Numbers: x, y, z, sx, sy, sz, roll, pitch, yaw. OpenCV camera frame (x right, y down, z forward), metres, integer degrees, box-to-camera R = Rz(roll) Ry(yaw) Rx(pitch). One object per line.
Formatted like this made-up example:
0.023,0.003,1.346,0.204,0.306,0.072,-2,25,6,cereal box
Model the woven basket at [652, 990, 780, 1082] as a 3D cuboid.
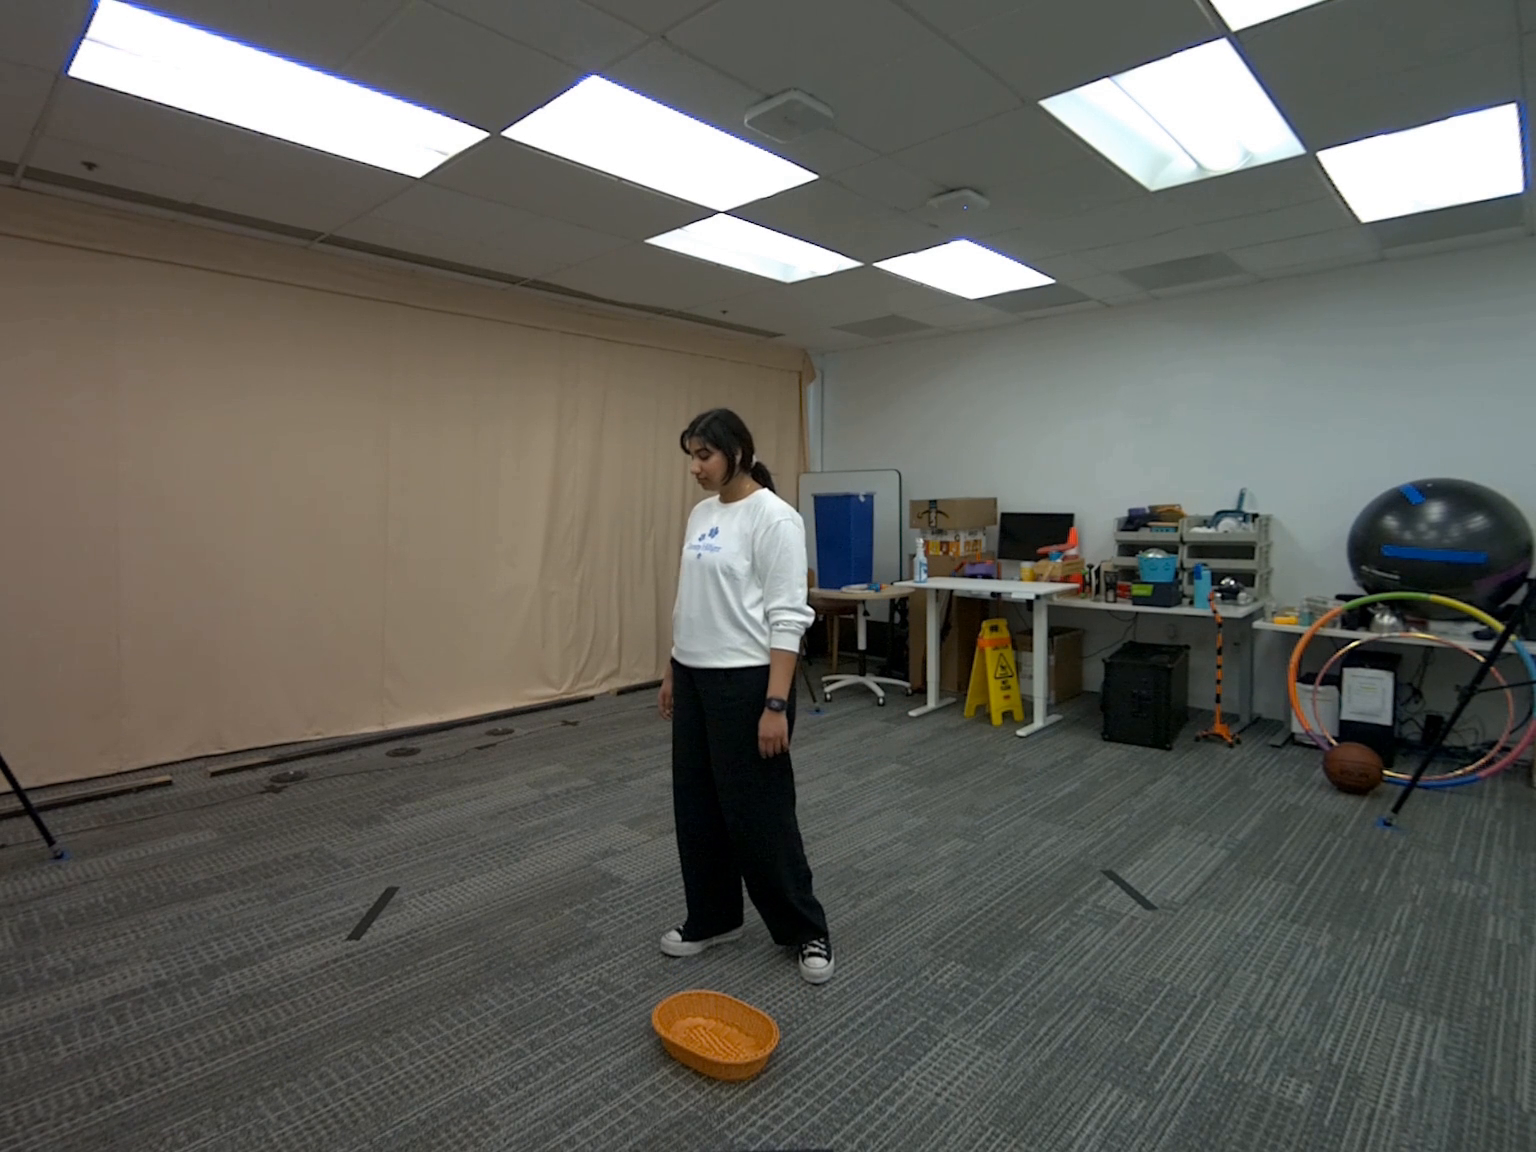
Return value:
-0.131,1.169,2.161,0.362,0.073,0.245,4,6,41,woven basket
